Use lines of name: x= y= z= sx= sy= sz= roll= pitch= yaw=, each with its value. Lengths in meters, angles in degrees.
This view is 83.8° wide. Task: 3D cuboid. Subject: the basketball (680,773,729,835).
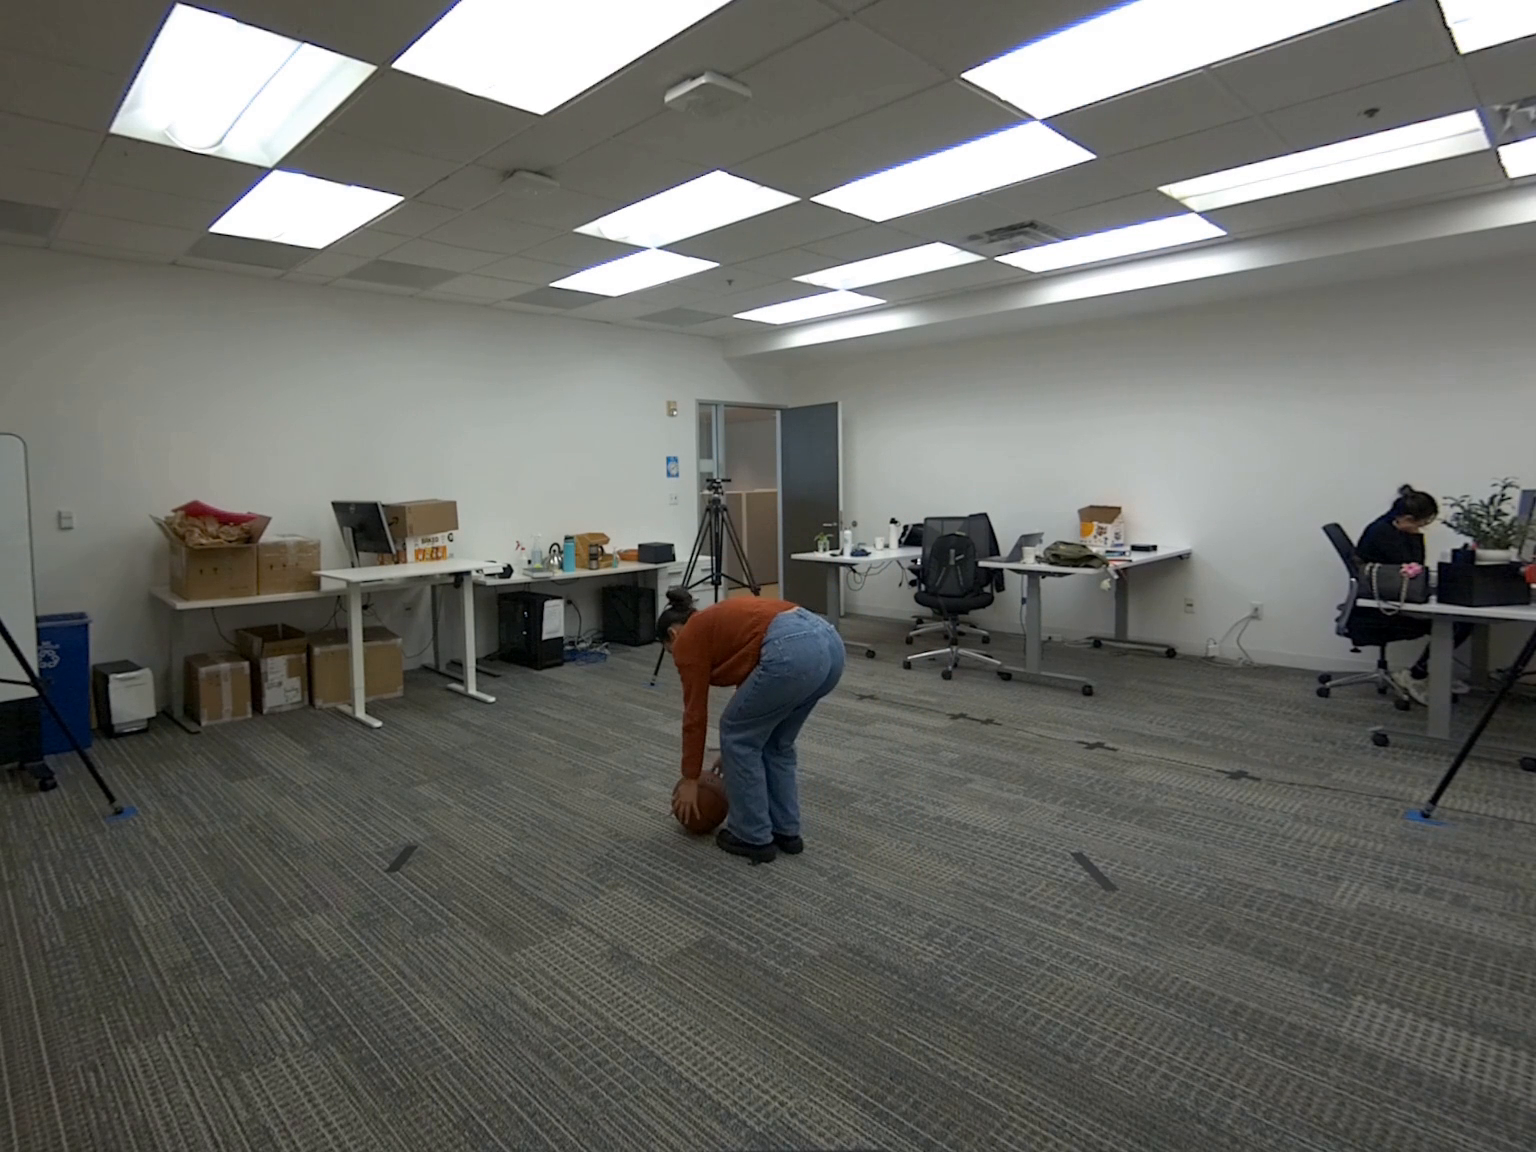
basketball: x=-0.264 y=0.887 z=3.403 sx=0.236 sy=0.235 sz=0.237 roll=-1 pitch=5 yaw=-2
